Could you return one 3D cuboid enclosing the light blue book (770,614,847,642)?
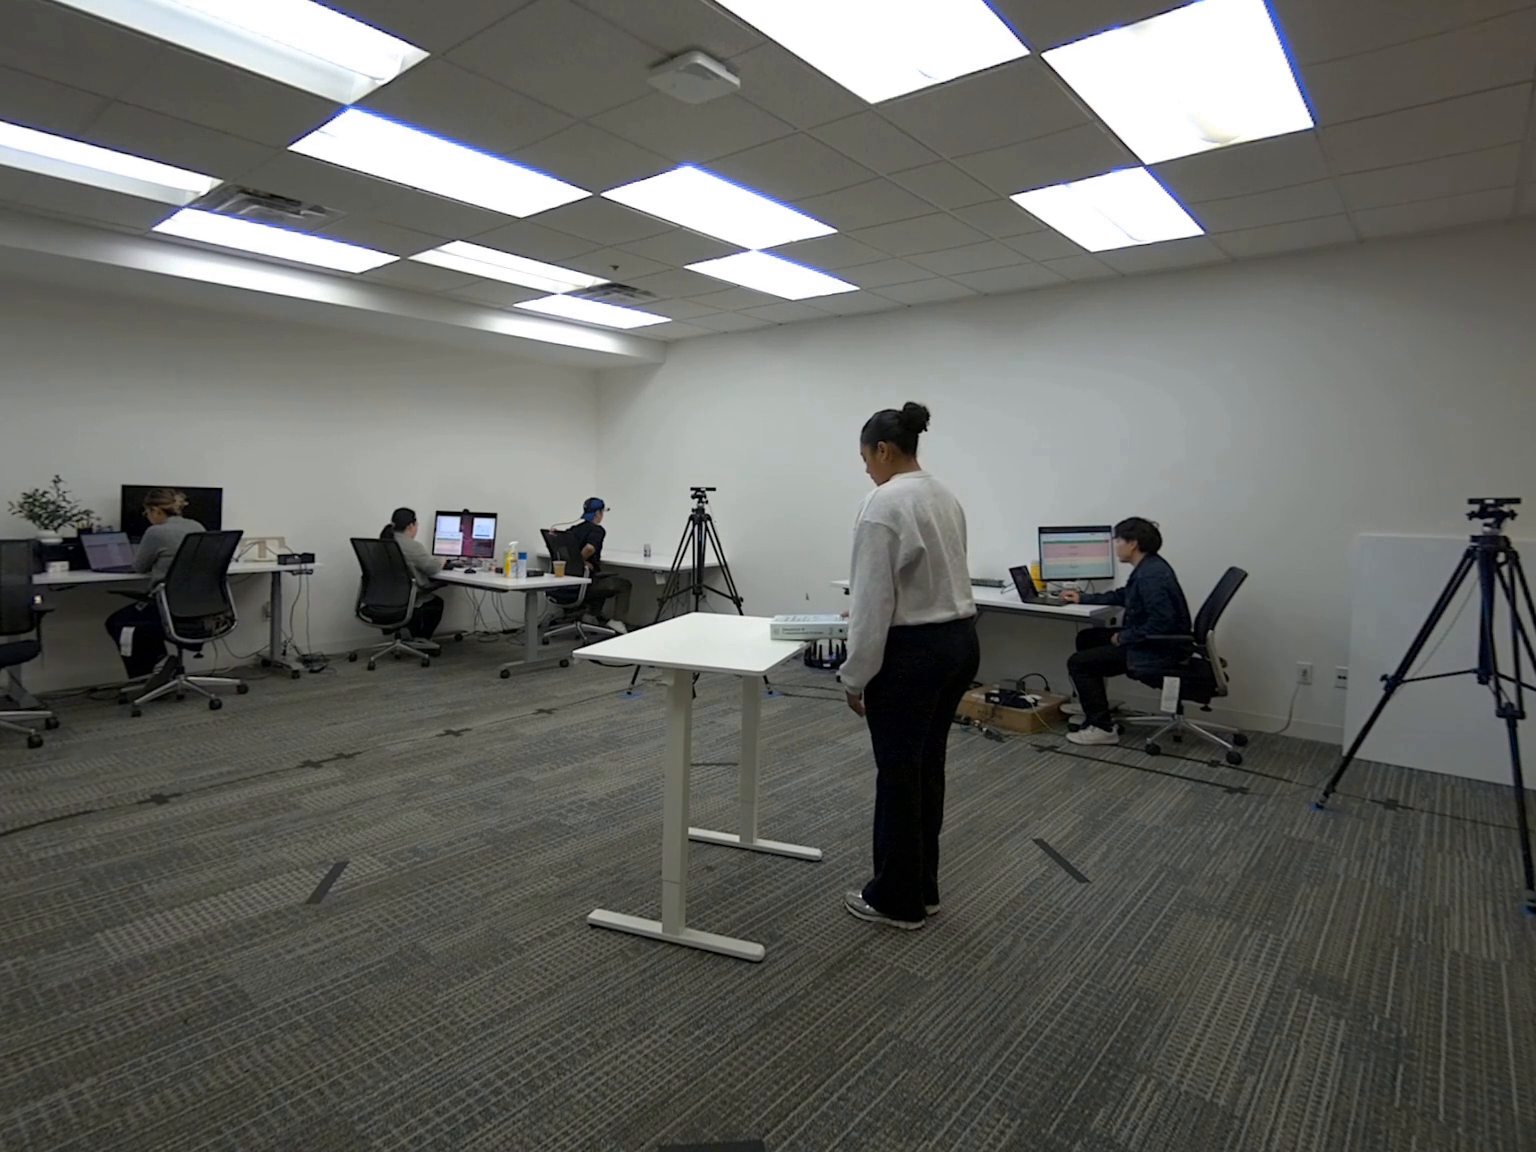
[{"bbox_3d":[0.136,0.173,2.947,0.263,0.059,0.190,-1,5,8],"label":"light blue book"}]
